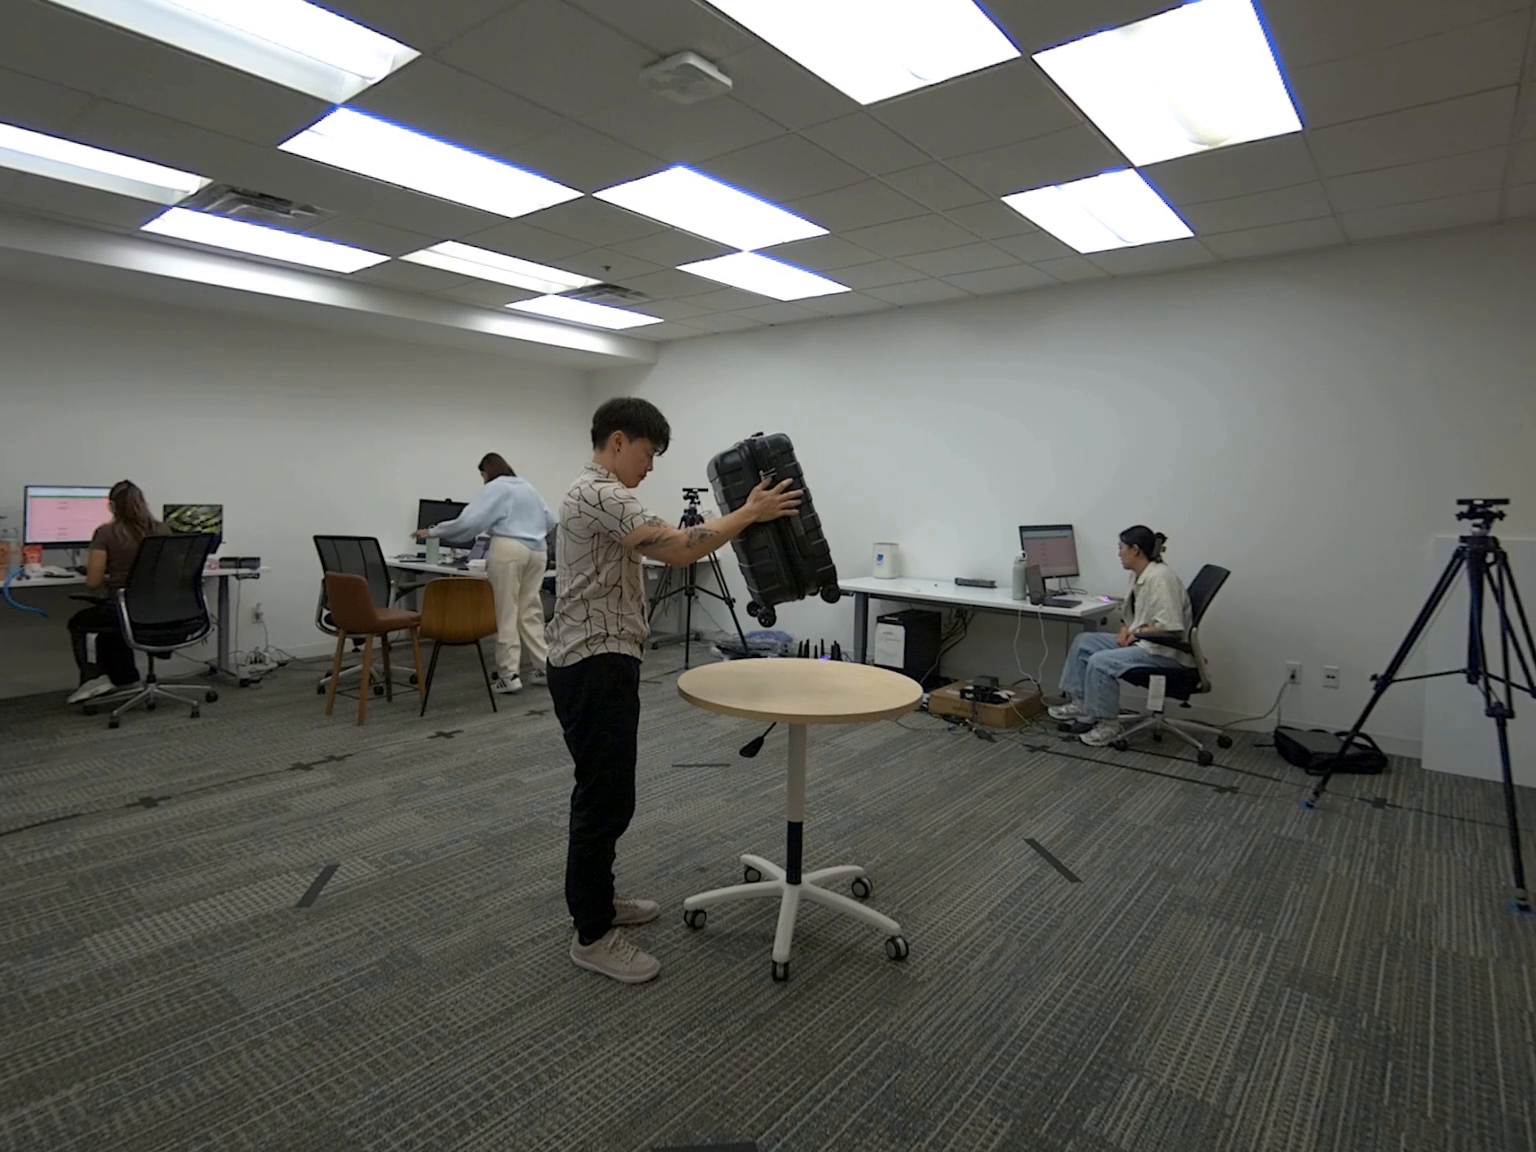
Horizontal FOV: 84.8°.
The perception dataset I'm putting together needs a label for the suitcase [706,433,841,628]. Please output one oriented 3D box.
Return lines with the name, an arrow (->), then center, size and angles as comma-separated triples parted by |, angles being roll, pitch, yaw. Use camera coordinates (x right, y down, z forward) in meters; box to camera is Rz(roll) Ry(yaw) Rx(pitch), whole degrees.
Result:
suitcase -> -0.007, -0.161, 2.642 | 0.247, 0.548, 0.378 | -19, 3, -5
